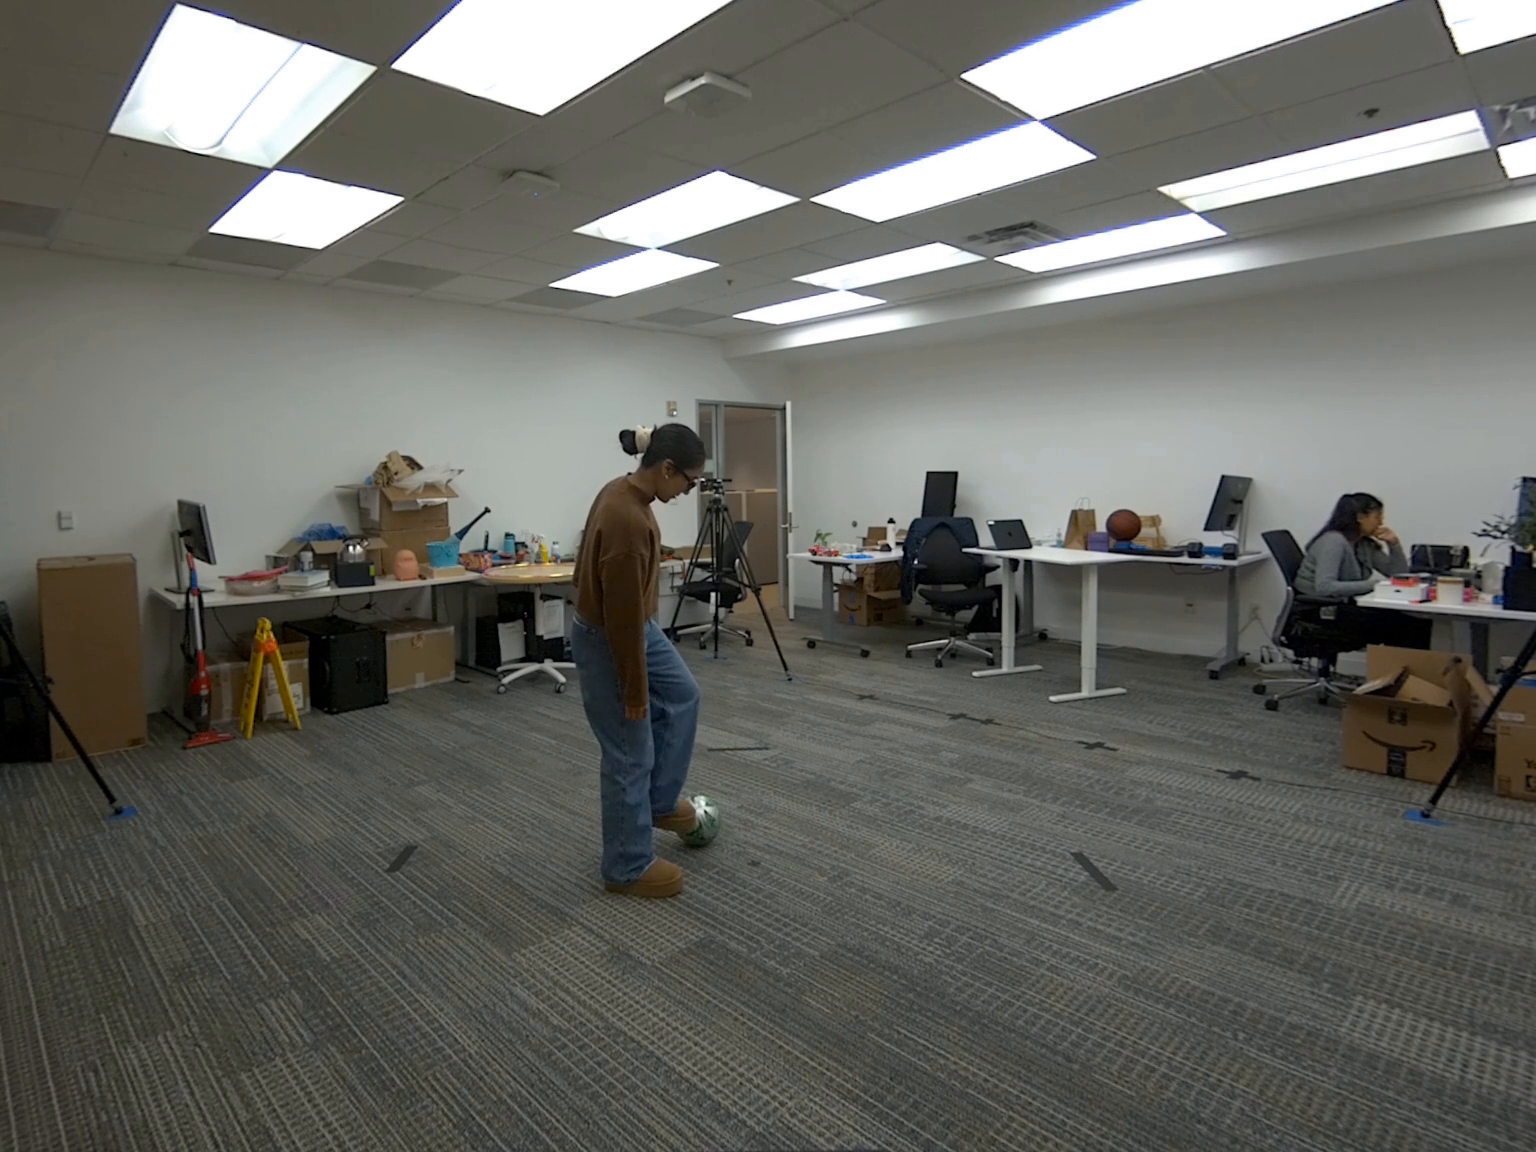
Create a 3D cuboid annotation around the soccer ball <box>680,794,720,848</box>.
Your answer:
[{"bbox_3d":[-0.261,0.934,3.281,0.187,0.187,0.188,-1,5,-2],"label":"soccer ball"}]
